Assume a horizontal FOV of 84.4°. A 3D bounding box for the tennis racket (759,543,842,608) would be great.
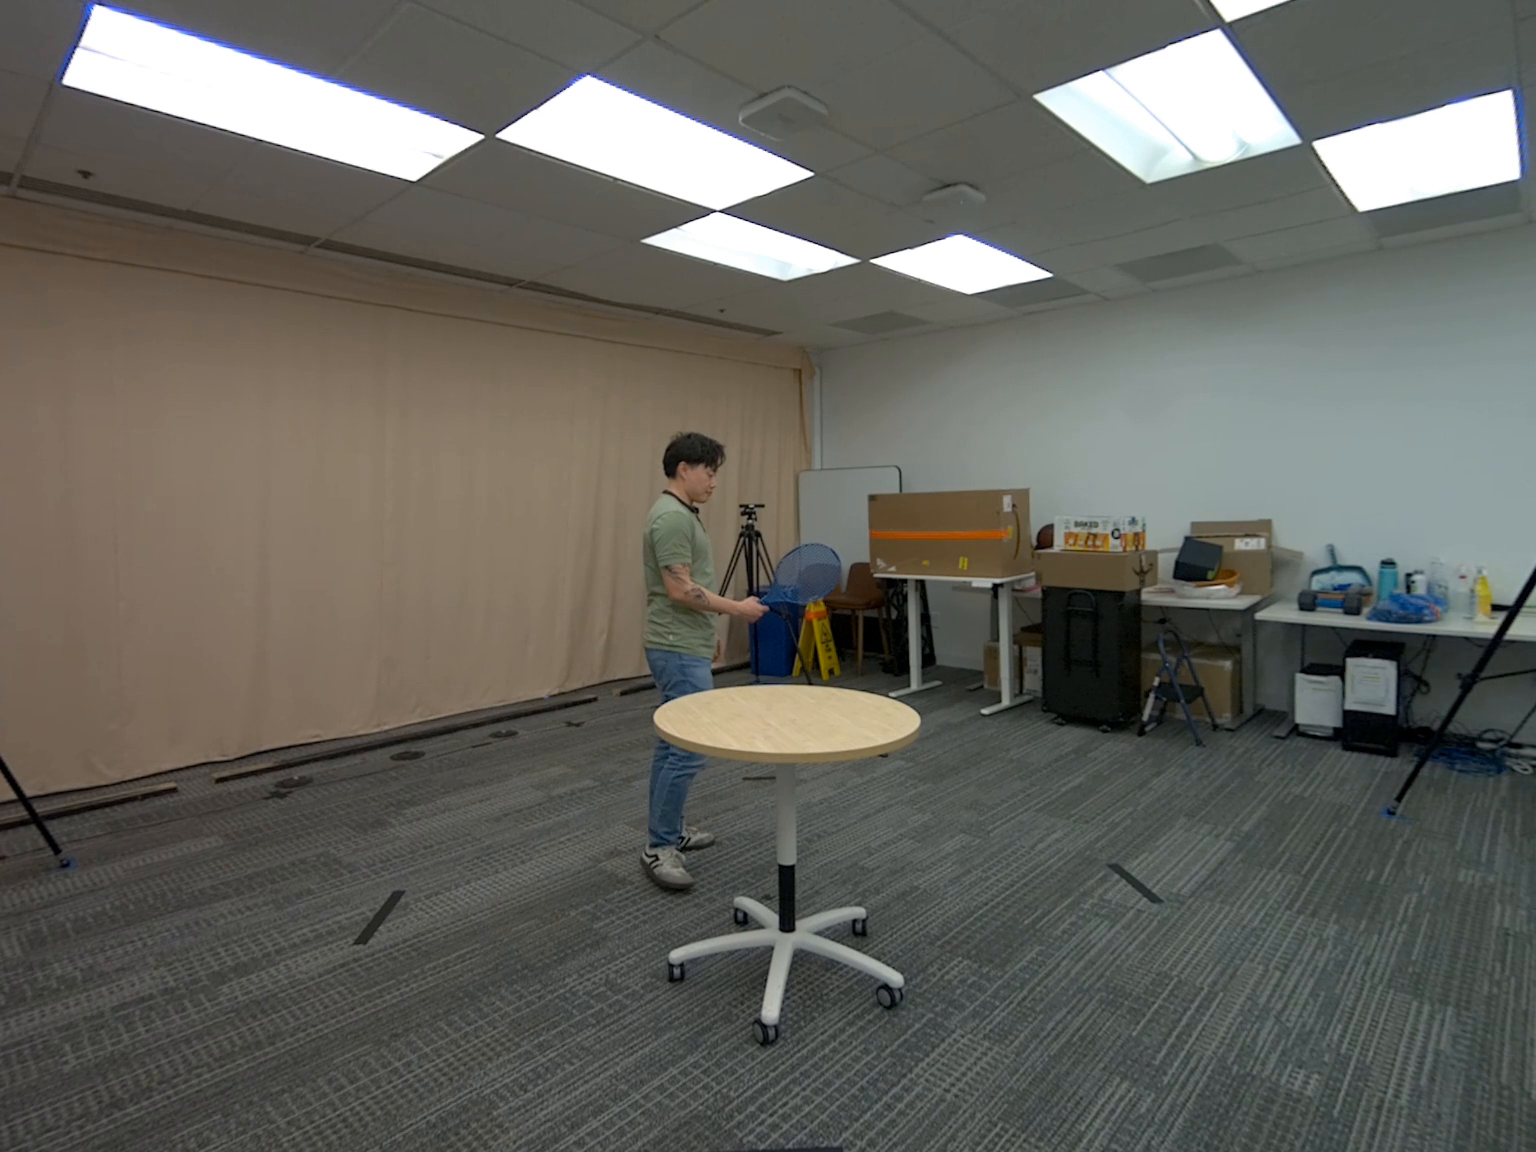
[{"bbox_3d":[0.085,0.030,3.177,0.436,0.213,0.031,-32,3,14],"label":"tennis racket"}]
